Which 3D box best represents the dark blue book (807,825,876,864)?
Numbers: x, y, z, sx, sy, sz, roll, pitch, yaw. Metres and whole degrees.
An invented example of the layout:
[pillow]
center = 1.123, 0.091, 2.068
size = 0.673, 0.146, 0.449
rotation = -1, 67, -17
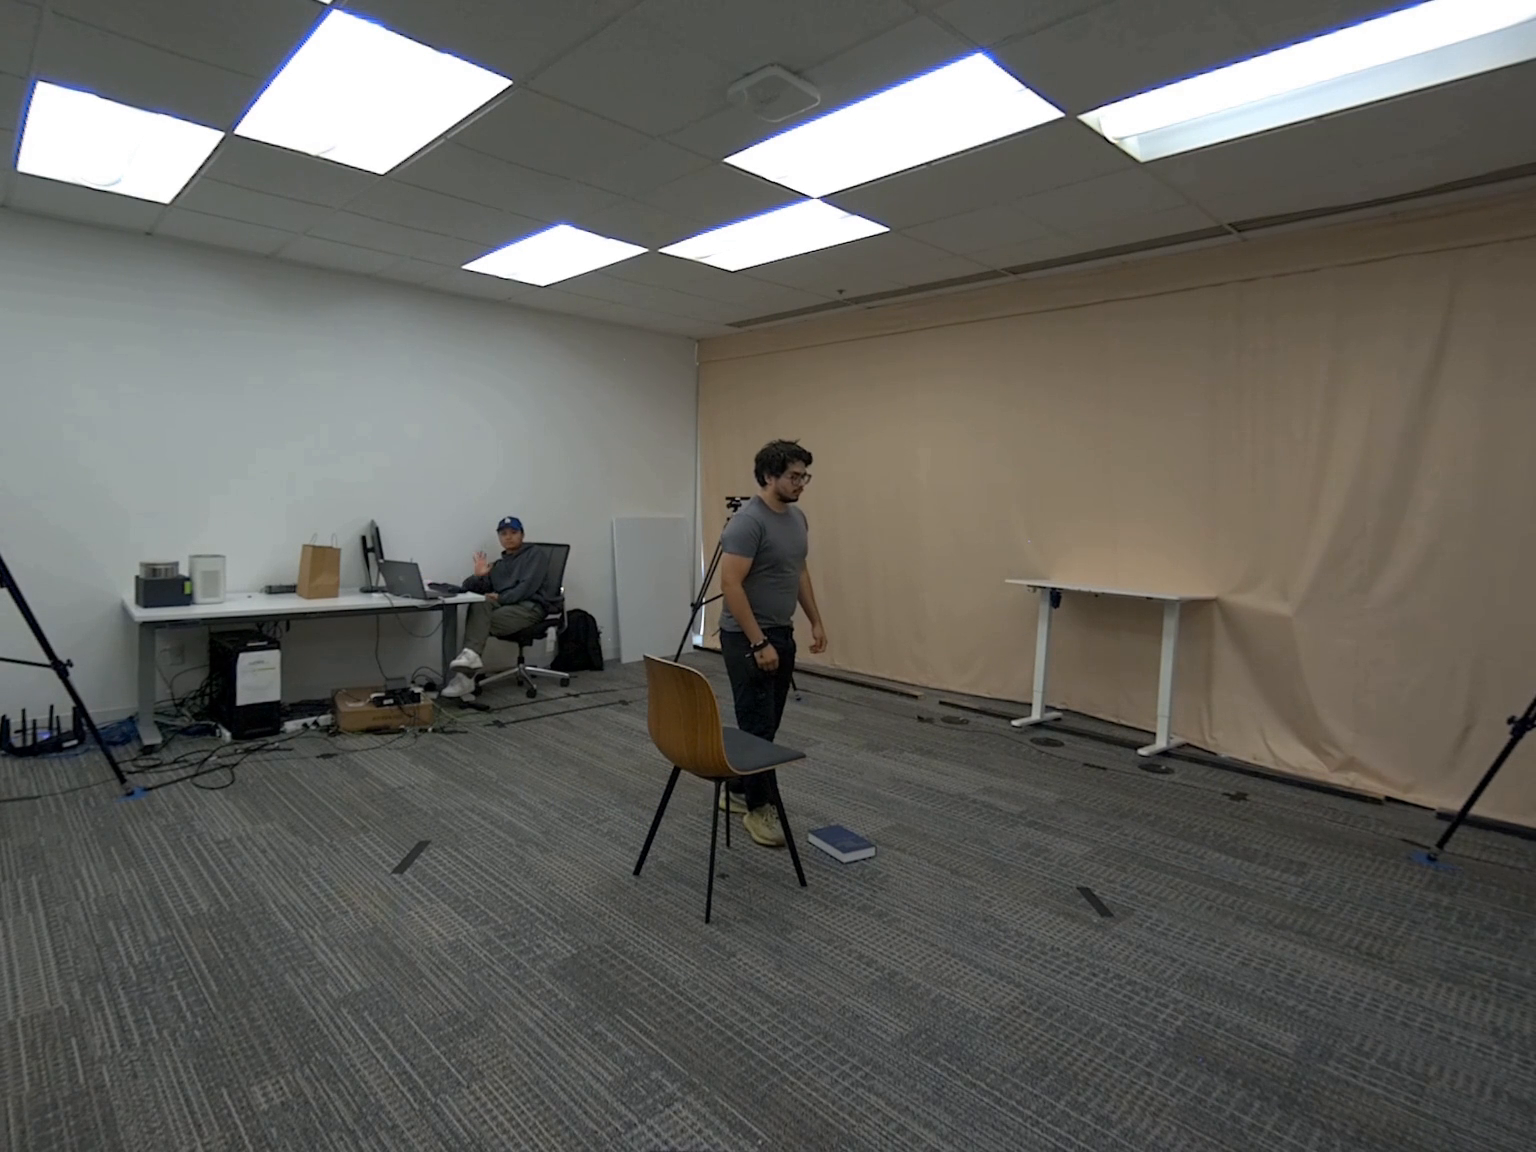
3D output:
[dark blue book]
center = 0.282, 1.067, 3.371
size = 0.160, 0.045, 0.251
rotation = -1, 6, -32
